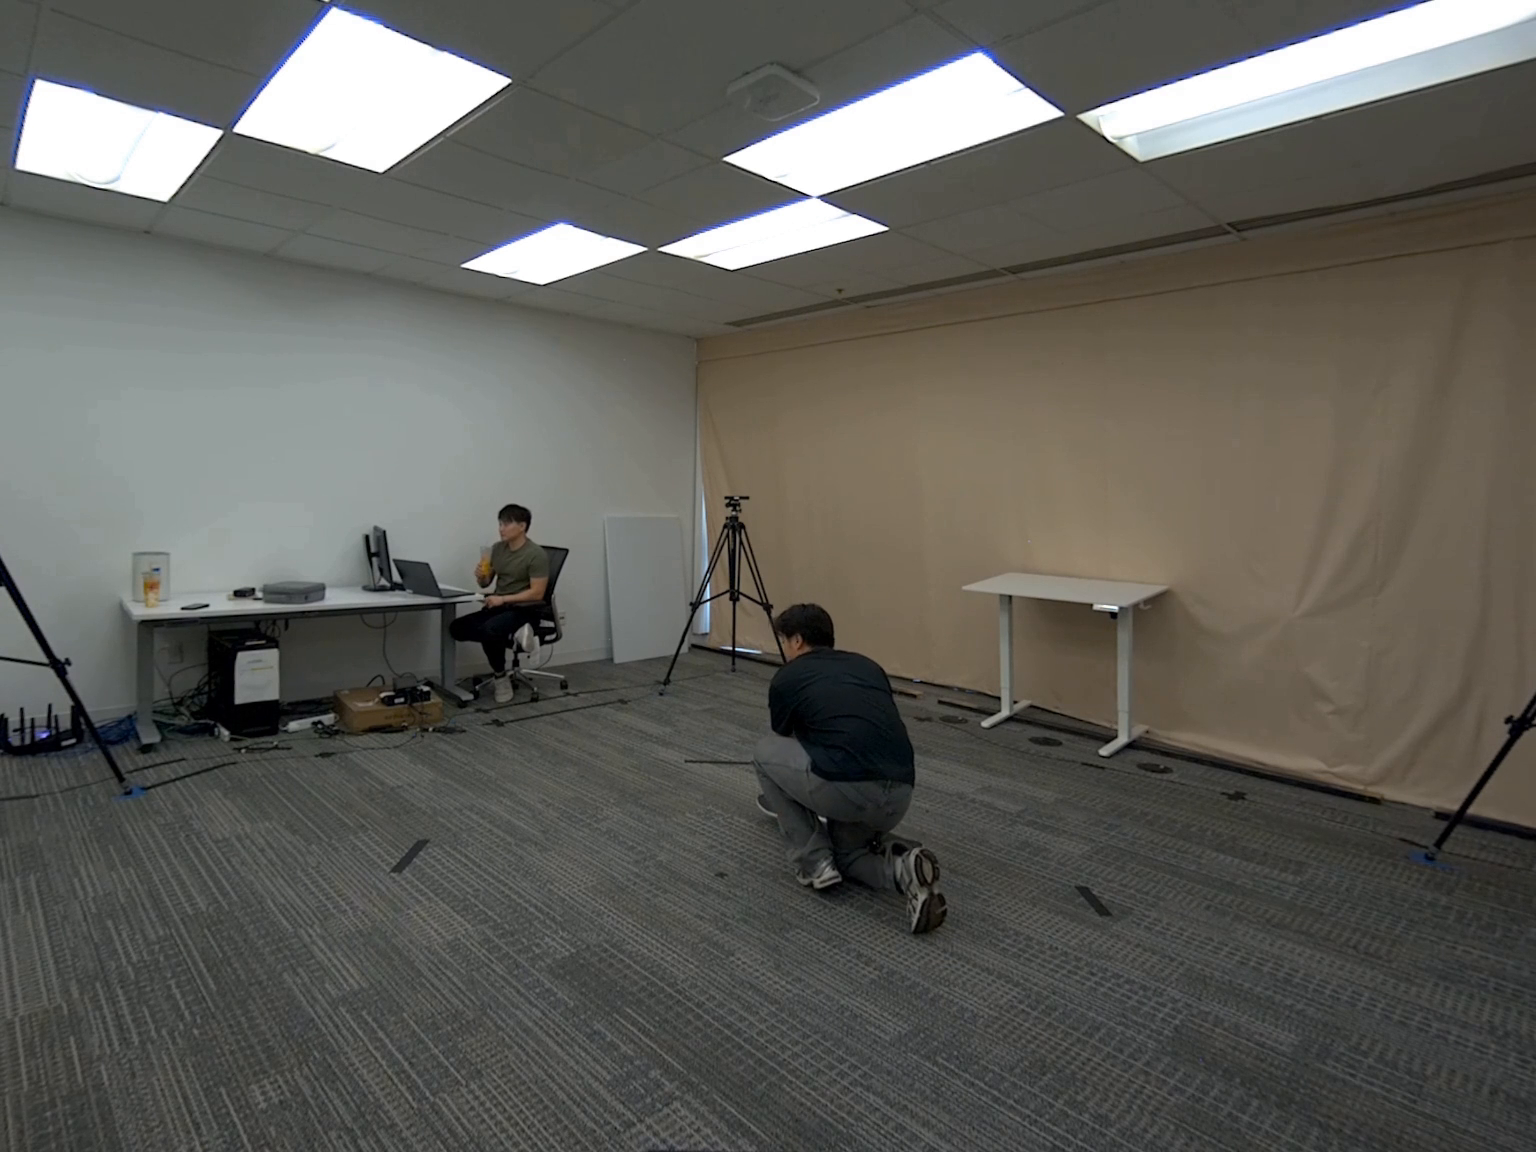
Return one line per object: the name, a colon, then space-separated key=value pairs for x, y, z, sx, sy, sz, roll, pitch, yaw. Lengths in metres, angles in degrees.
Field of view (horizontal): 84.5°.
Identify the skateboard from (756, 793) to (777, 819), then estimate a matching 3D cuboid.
skateboard: x=0.248 y=1.031 z=3.395 sx=0.806 sy=0.110 sz=0.189 roll=6 pitch=5 yaw=44
